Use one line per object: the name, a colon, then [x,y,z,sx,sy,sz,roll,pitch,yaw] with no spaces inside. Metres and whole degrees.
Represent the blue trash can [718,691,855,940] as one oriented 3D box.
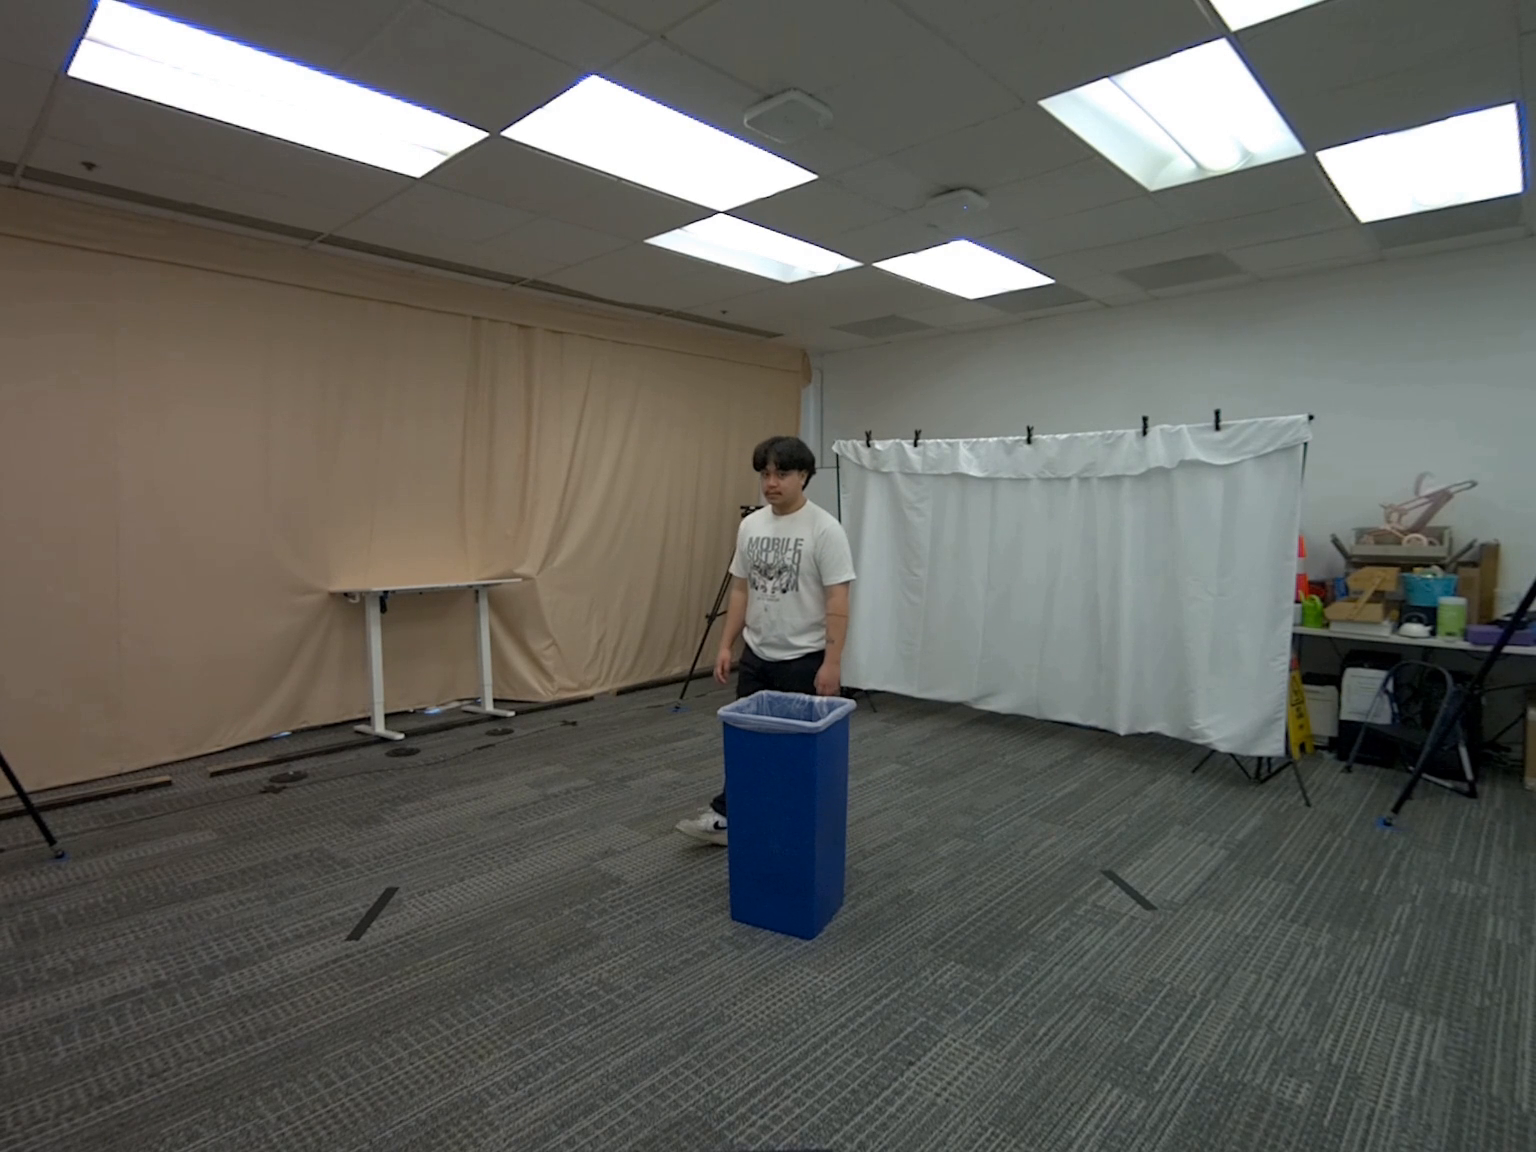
blue trash can: [0.069,0.790,2.867,0.388,0.712,0.365,1,3,27]
